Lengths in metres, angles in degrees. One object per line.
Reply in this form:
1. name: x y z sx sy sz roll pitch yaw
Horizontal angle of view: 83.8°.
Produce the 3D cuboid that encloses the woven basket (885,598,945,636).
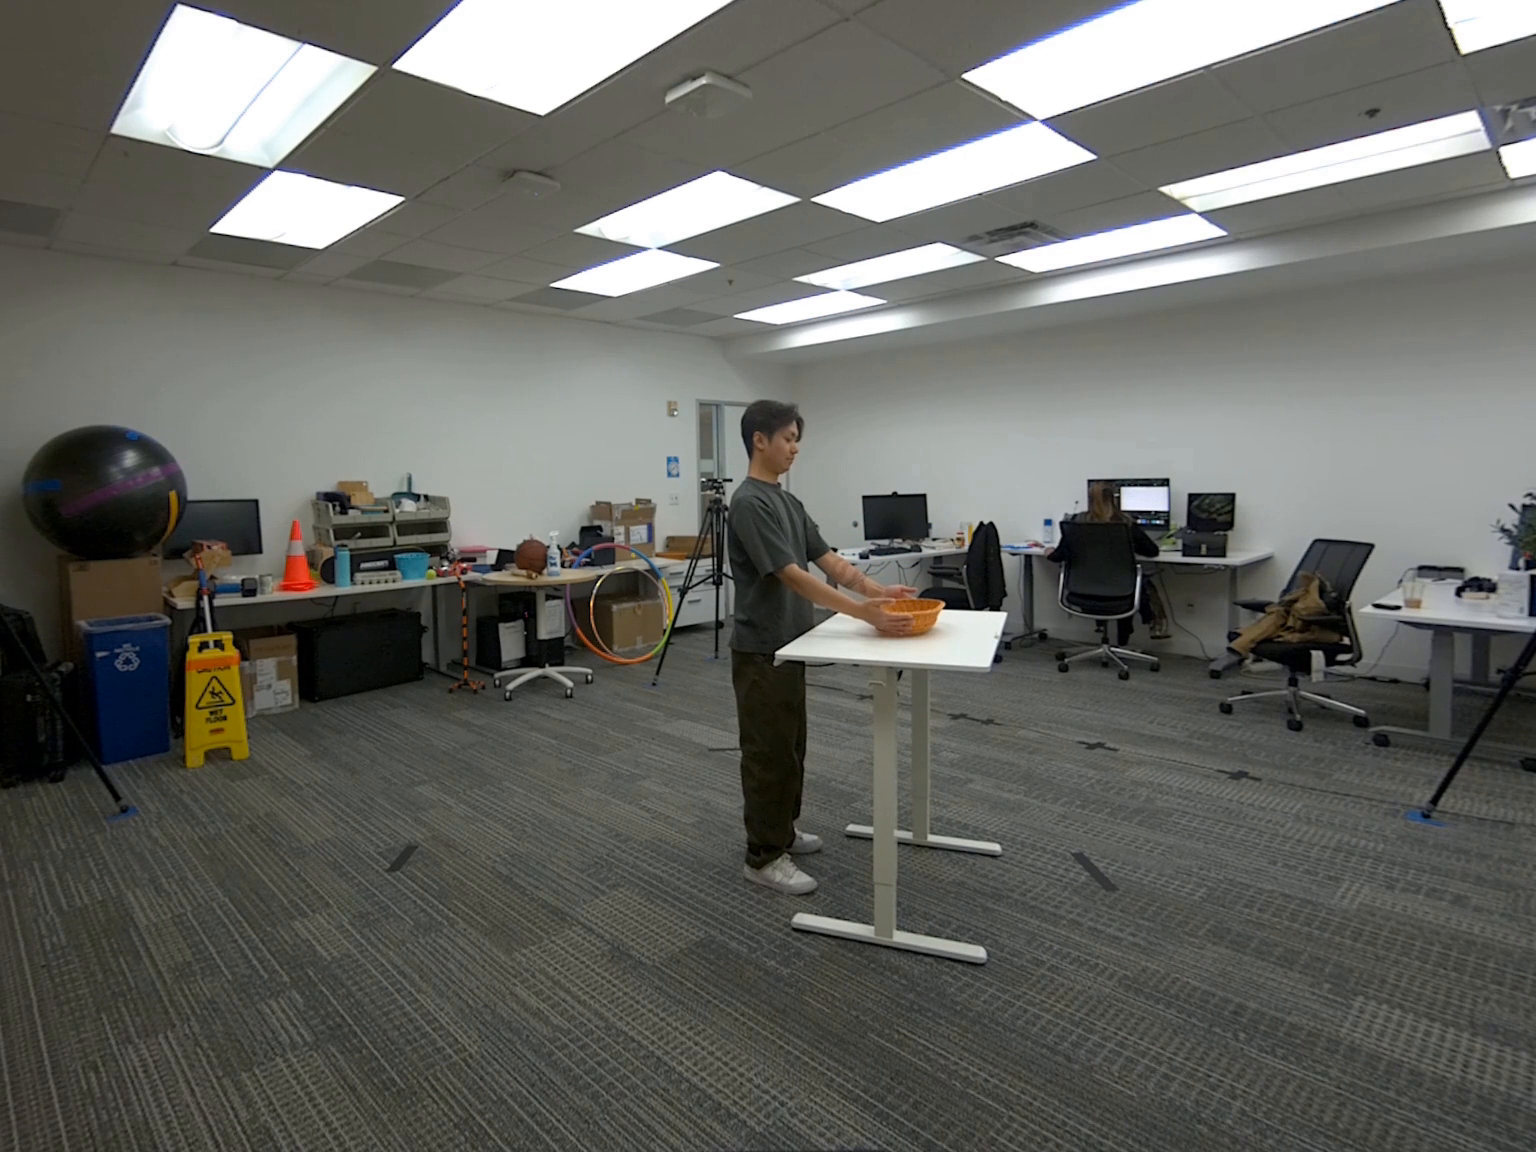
1. woven basket: 0.451 0.136 2.848 0.258 0.073 0.344 1 6 23
